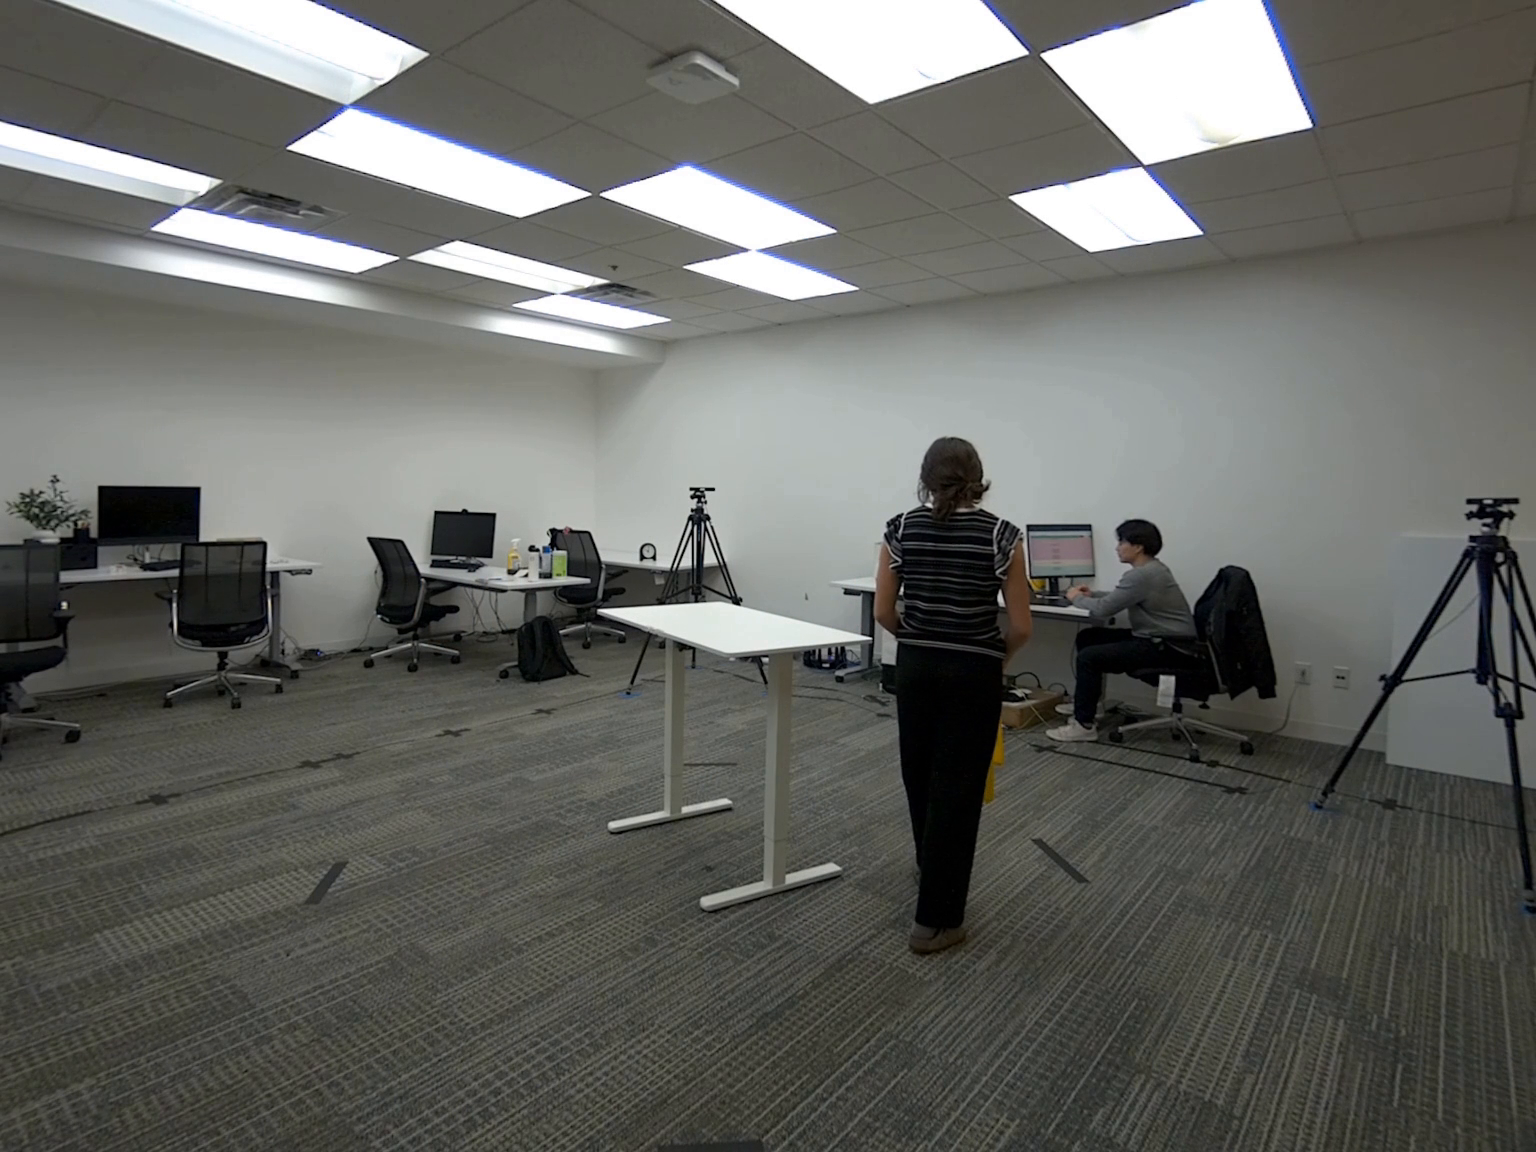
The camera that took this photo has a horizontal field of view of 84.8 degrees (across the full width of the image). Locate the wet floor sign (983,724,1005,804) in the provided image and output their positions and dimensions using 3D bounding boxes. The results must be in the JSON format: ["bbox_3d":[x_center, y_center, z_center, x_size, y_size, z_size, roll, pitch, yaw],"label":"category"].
[{"bbox_3d":[0.642,0.403,2.918,0.290,0.635,0.287,6,20,24],"label":"wet floor sign"}]
